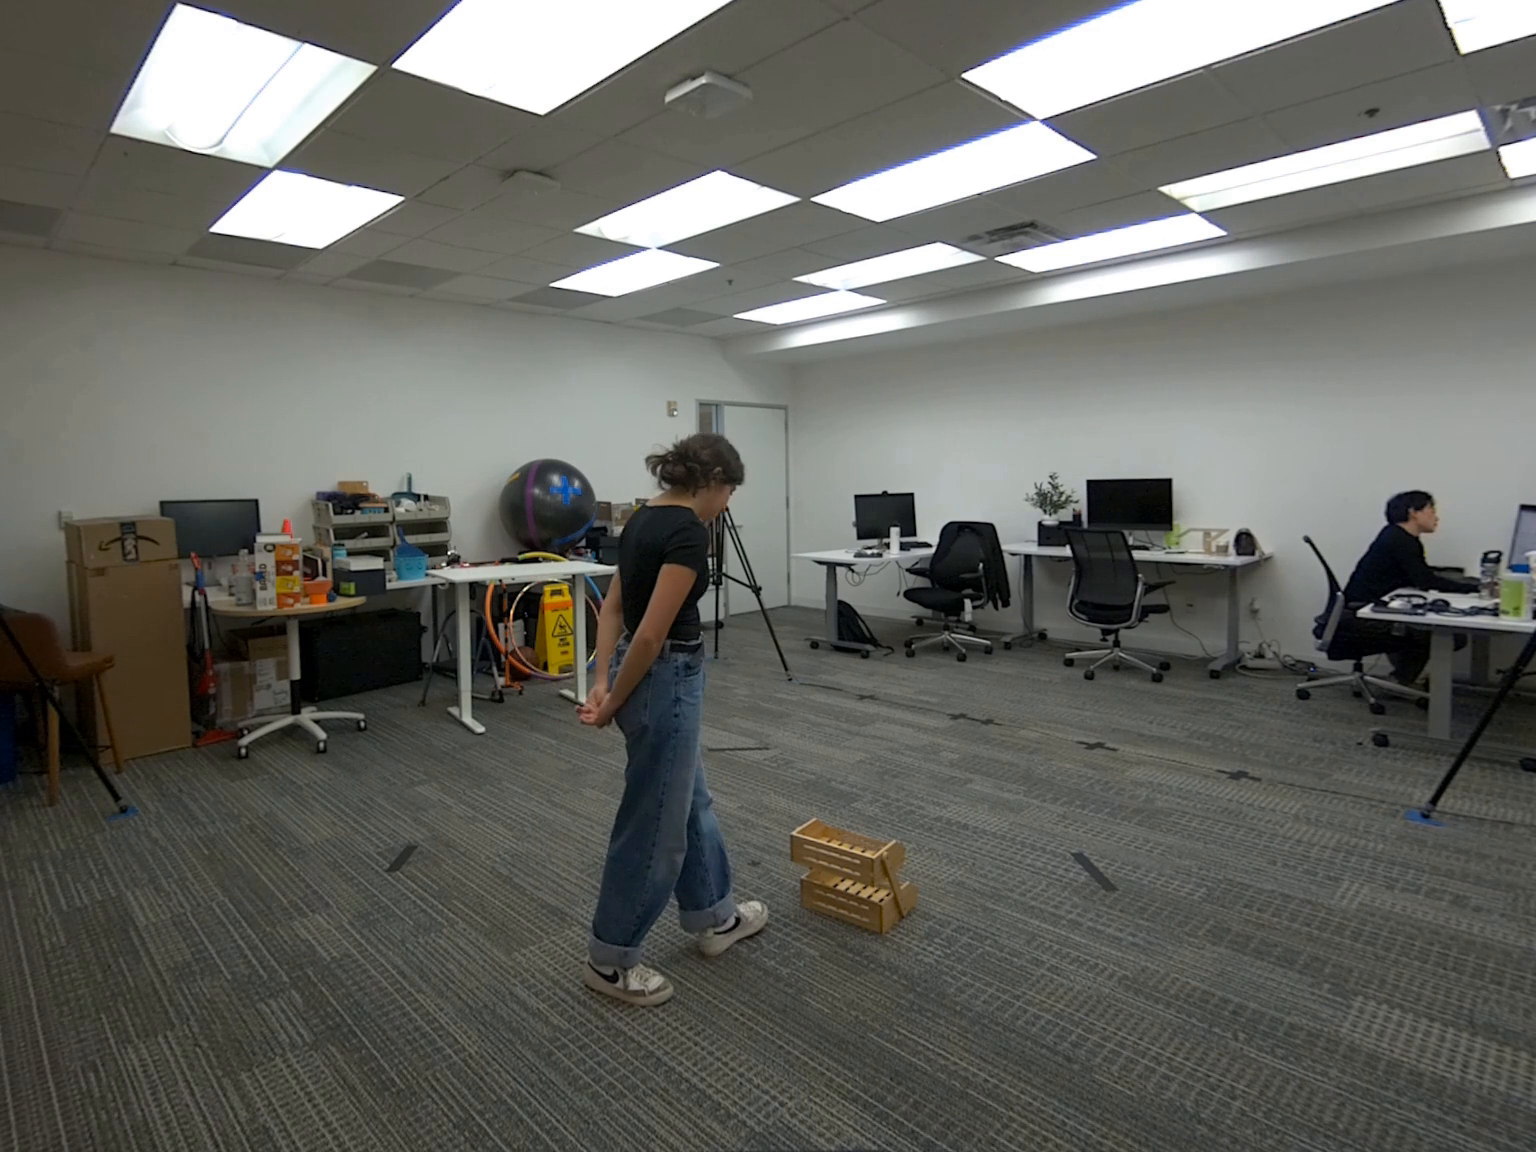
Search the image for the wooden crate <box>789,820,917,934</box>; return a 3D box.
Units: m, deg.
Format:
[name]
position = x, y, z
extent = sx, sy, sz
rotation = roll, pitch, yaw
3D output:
[wooden crate]
position = 0.289, 0.947, 2.767
extent = 0.334, 0.272, 0.295
rotation = 3, 7, 37
